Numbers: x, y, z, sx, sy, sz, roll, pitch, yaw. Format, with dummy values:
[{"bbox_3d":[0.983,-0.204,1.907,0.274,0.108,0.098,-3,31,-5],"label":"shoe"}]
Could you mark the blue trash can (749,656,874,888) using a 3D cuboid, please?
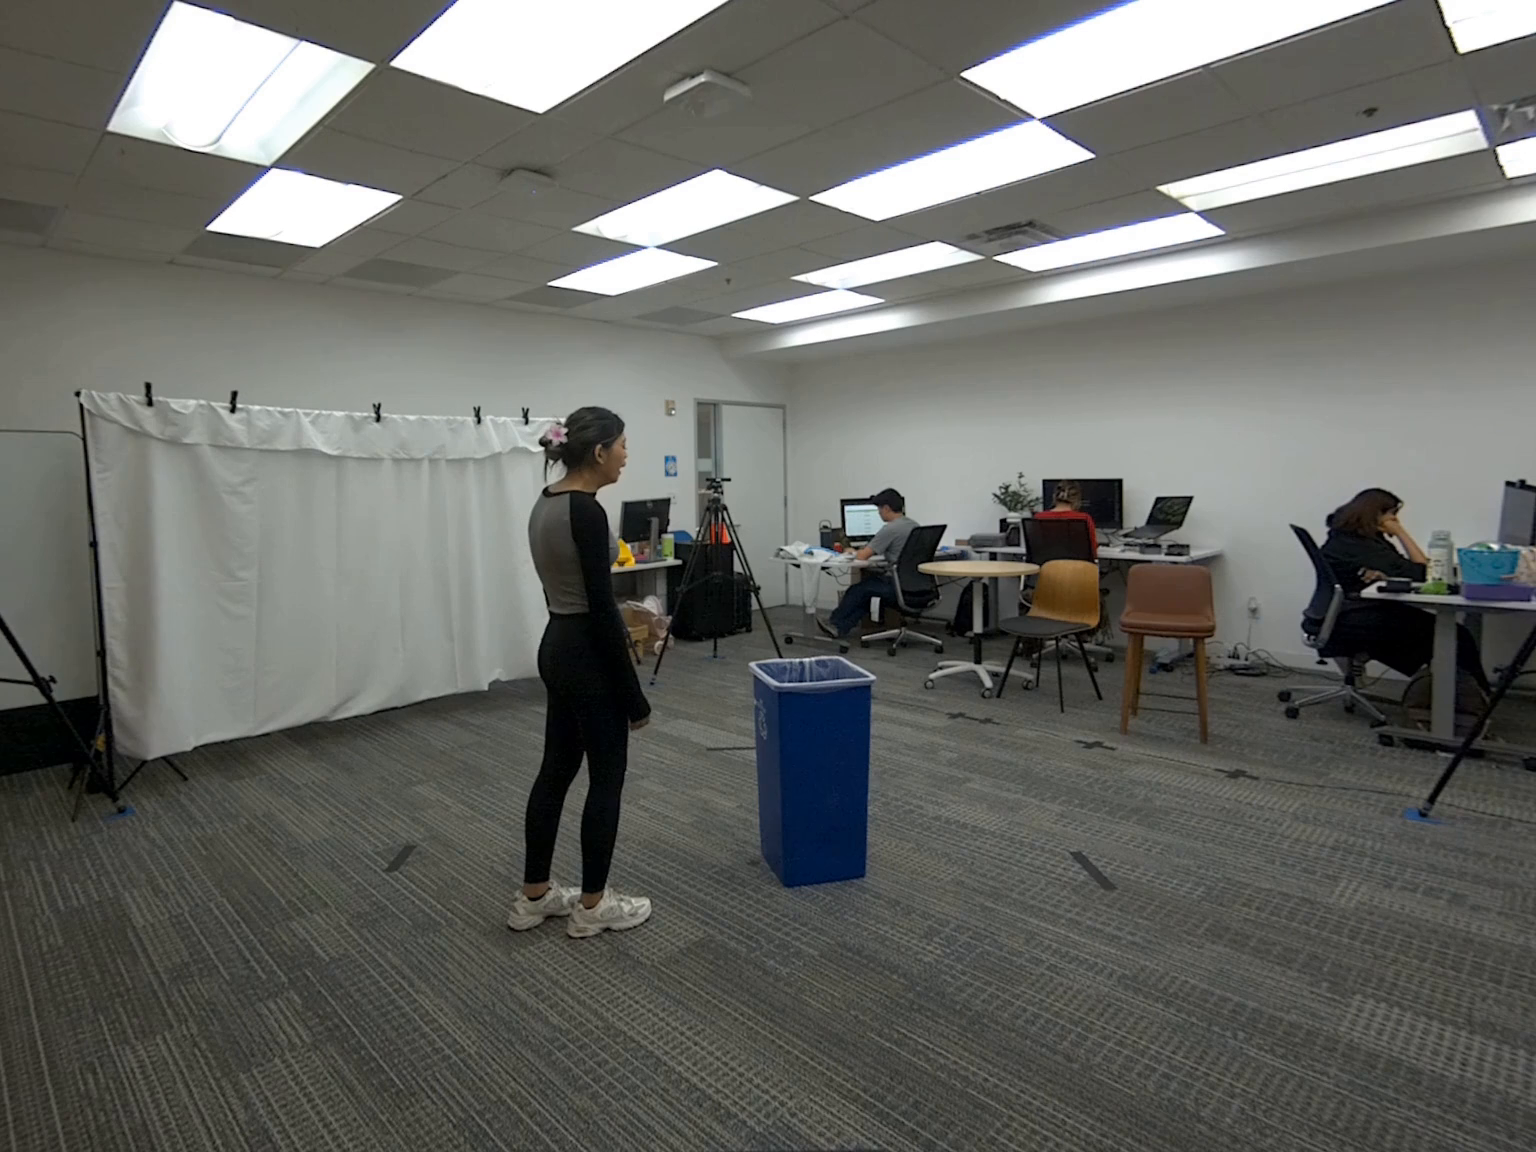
[{"bbox_3d":[0.160,0.686,3.059,0.373,0.711,0.380,-2,4,-15],"label":"blue trash can"}]
